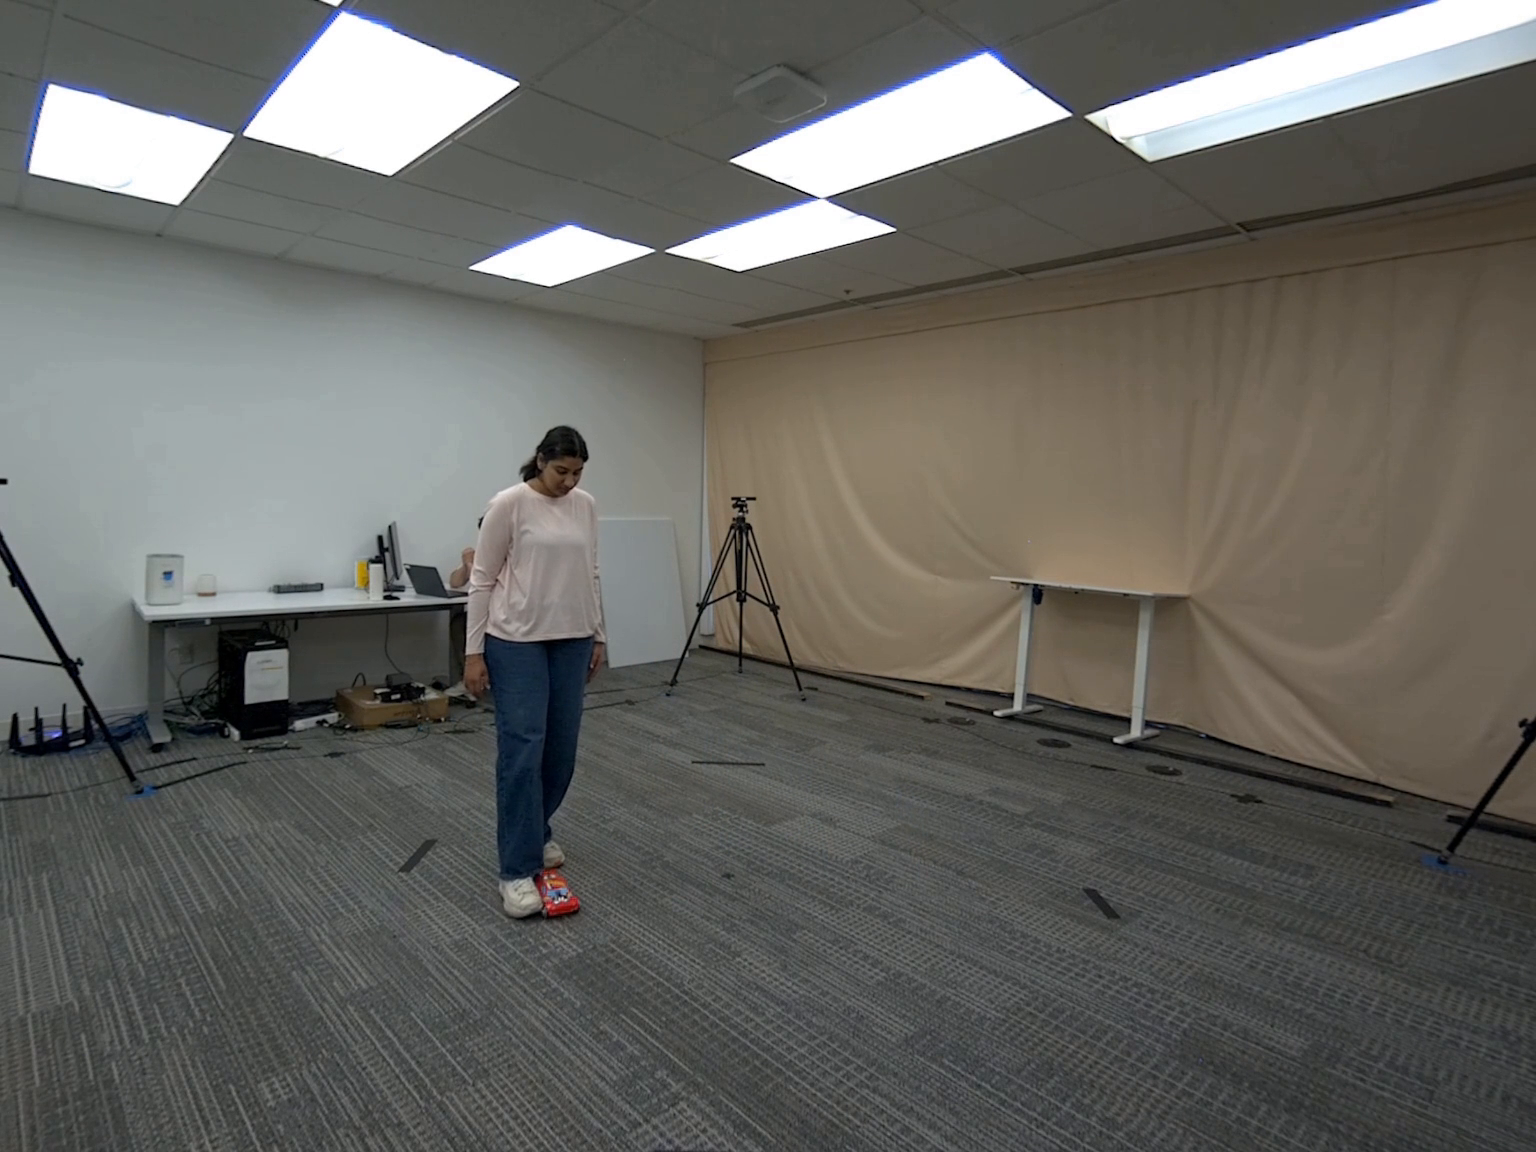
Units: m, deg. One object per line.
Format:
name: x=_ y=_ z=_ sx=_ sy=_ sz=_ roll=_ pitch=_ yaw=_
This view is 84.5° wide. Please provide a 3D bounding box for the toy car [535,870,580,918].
toy car: x=-0.742 y=1.086 z=2.865 sx=0.128 sy=0.082 sz=0.262 roll=-1 pitch=17 yaw=-27
